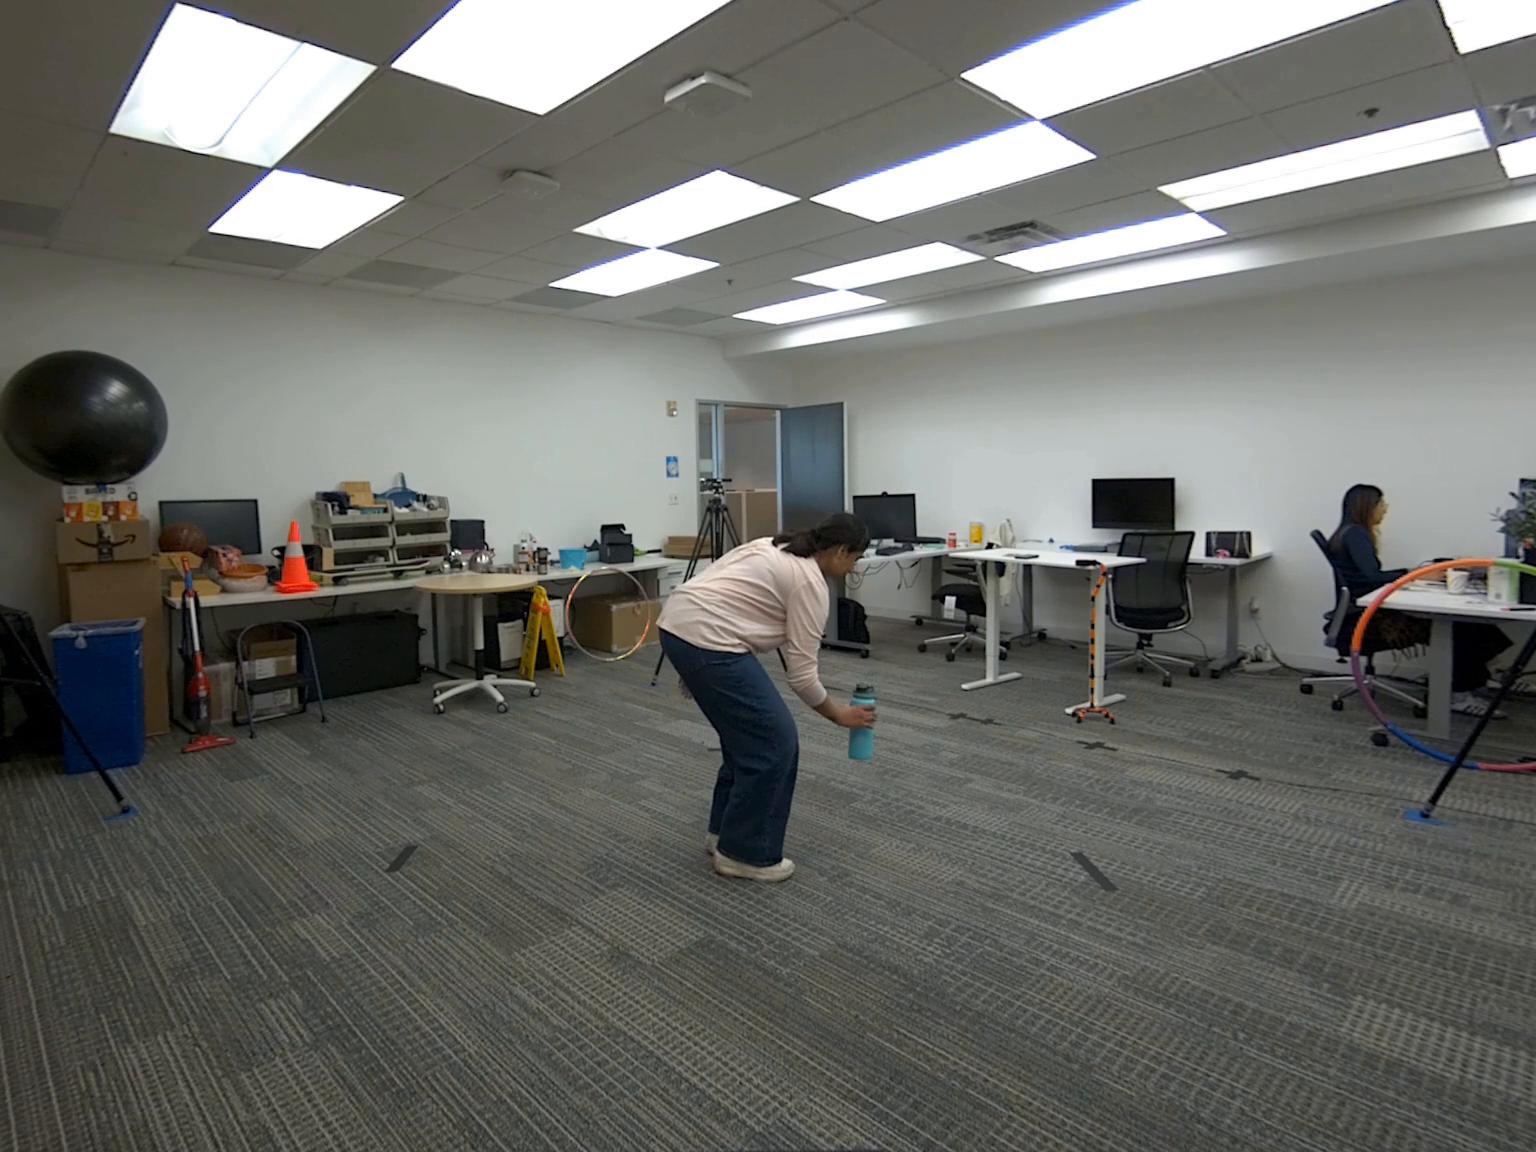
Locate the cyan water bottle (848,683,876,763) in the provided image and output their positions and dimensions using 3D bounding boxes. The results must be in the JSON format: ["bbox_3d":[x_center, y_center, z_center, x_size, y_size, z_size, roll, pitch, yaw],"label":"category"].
[{"bbox_3d":[0.347,0.533,3.180,0.092,0.284,0.092,5,-1,-2],"label":"cyan water bottle"}]
